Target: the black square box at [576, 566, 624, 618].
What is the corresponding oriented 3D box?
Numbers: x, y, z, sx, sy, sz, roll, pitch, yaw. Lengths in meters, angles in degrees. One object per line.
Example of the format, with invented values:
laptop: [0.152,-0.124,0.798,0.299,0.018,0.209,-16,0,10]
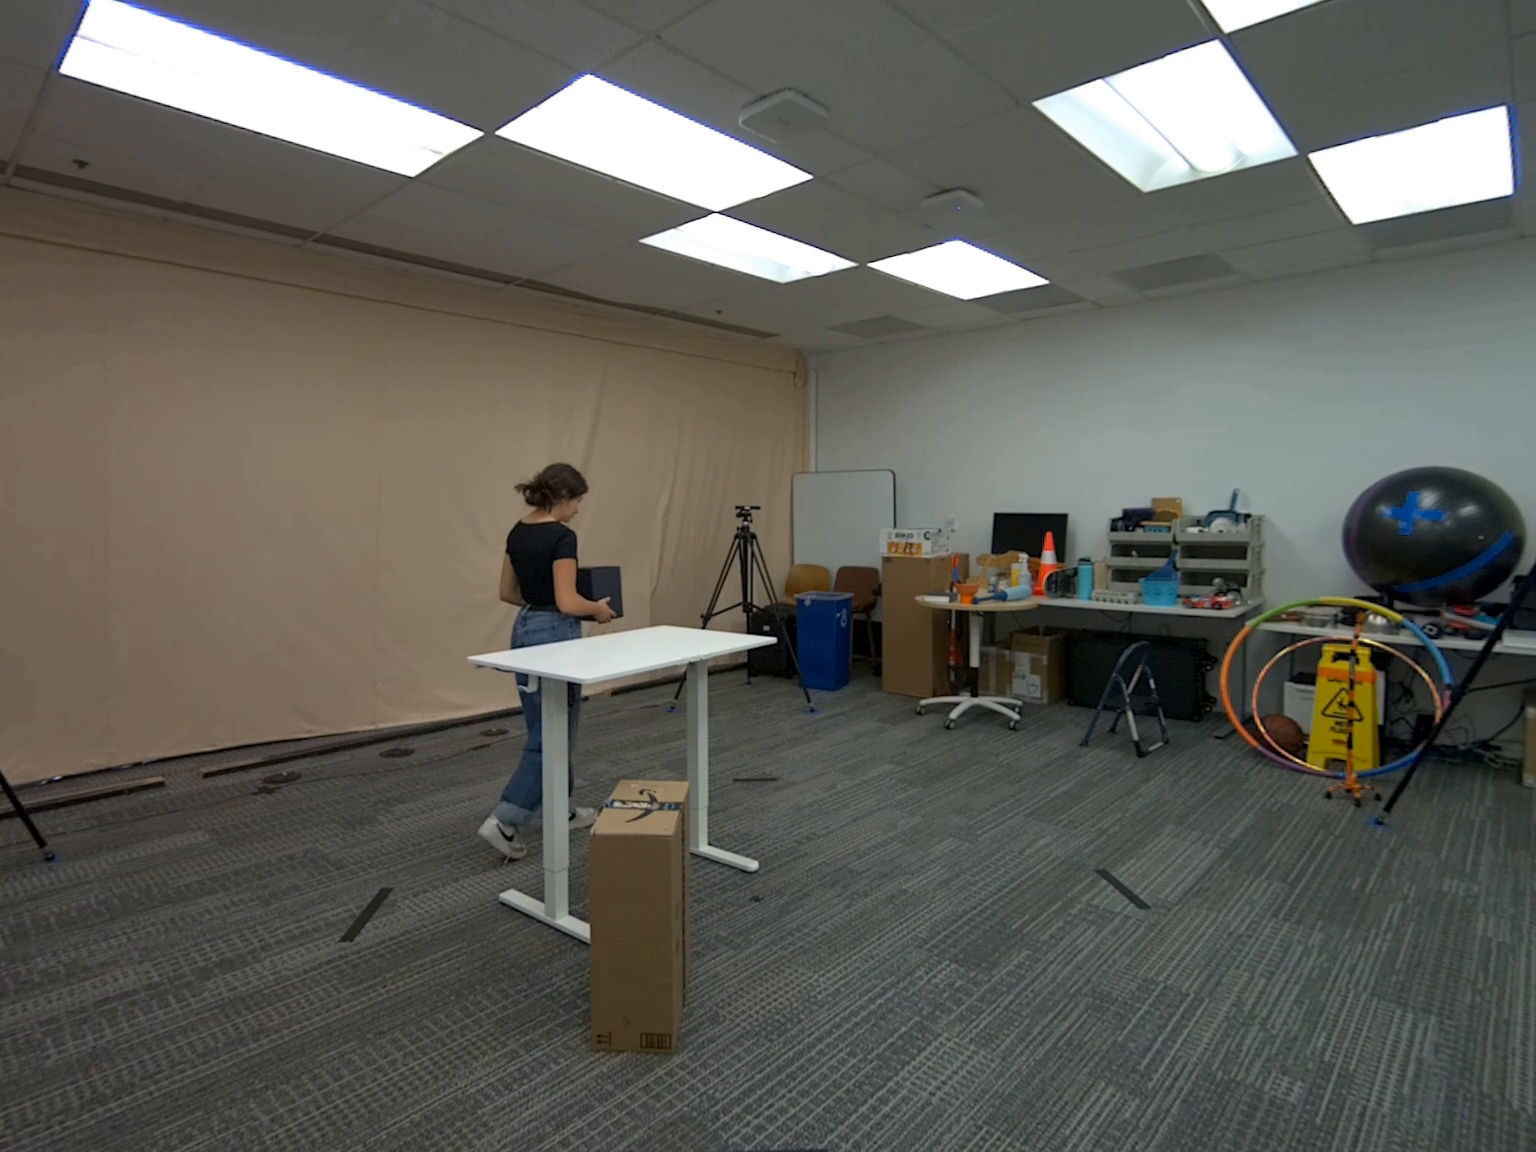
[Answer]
black square box: [-0.780,0.074,3.712,0.224,0.227,0.151,0,3,43]
